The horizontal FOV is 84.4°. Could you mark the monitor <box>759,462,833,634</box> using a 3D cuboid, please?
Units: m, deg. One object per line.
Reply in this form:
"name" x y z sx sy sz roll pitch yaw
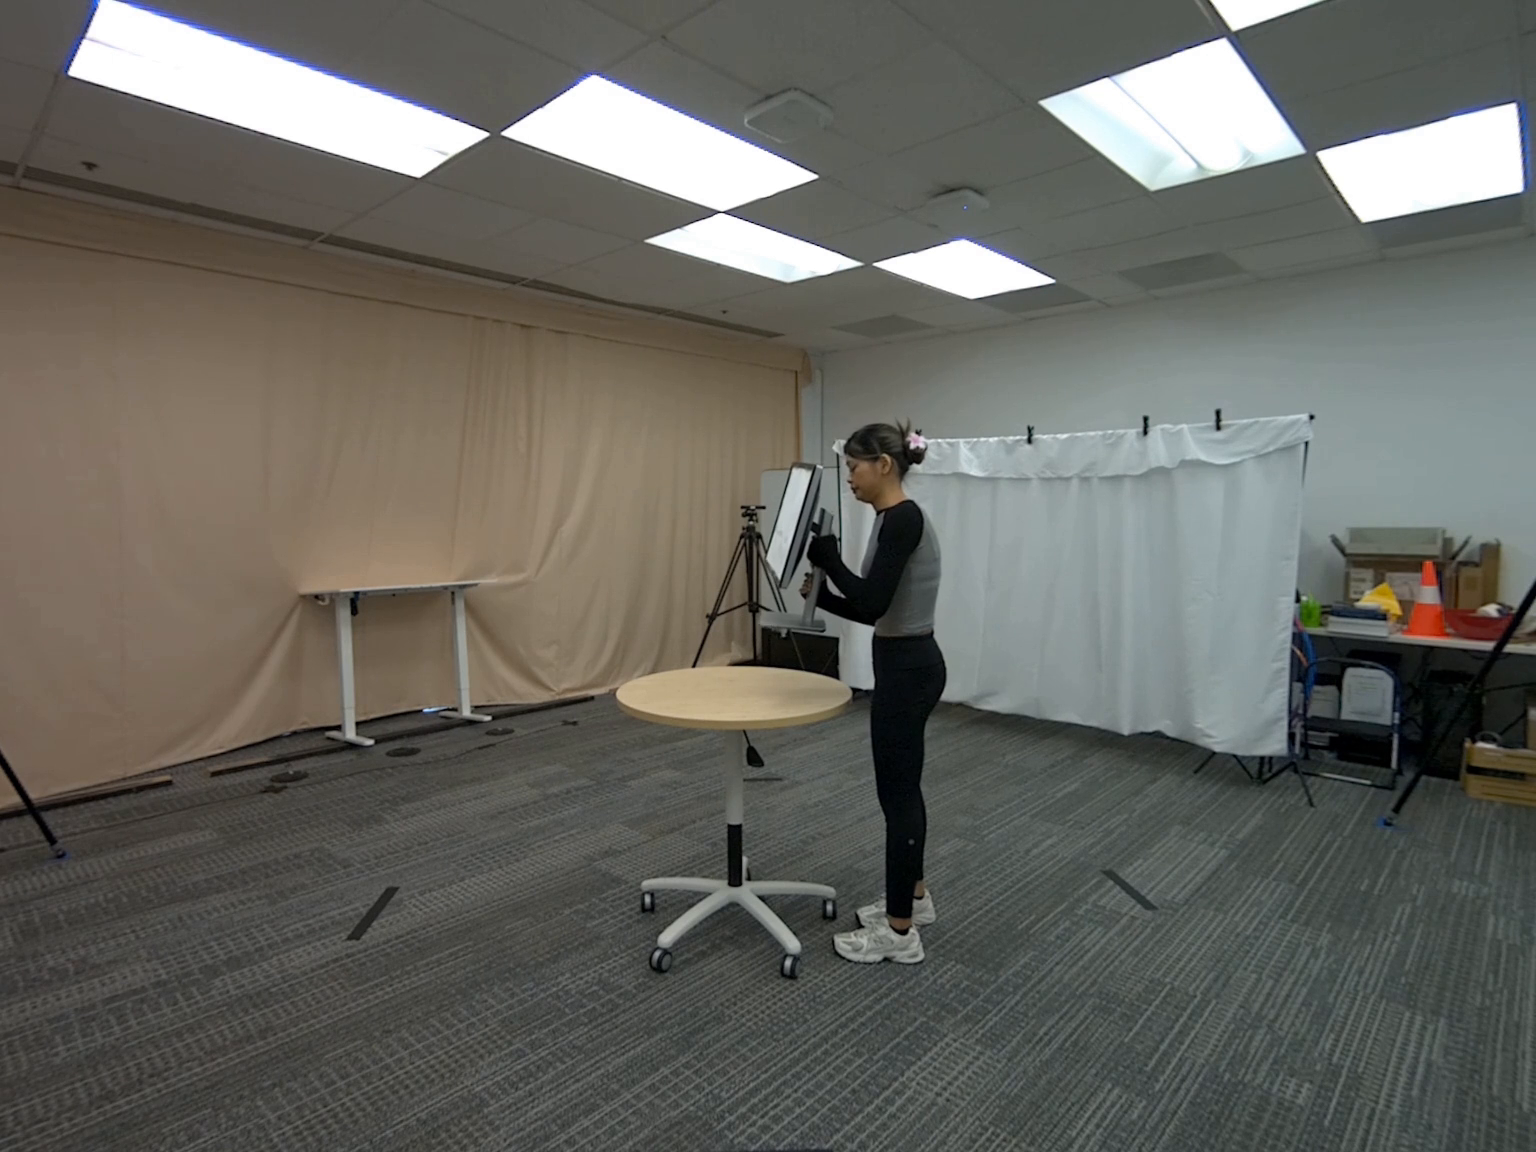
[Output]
"monitor" 0.105 -0.088 2.657 0.186 0.520 0.544 3 7 -6
